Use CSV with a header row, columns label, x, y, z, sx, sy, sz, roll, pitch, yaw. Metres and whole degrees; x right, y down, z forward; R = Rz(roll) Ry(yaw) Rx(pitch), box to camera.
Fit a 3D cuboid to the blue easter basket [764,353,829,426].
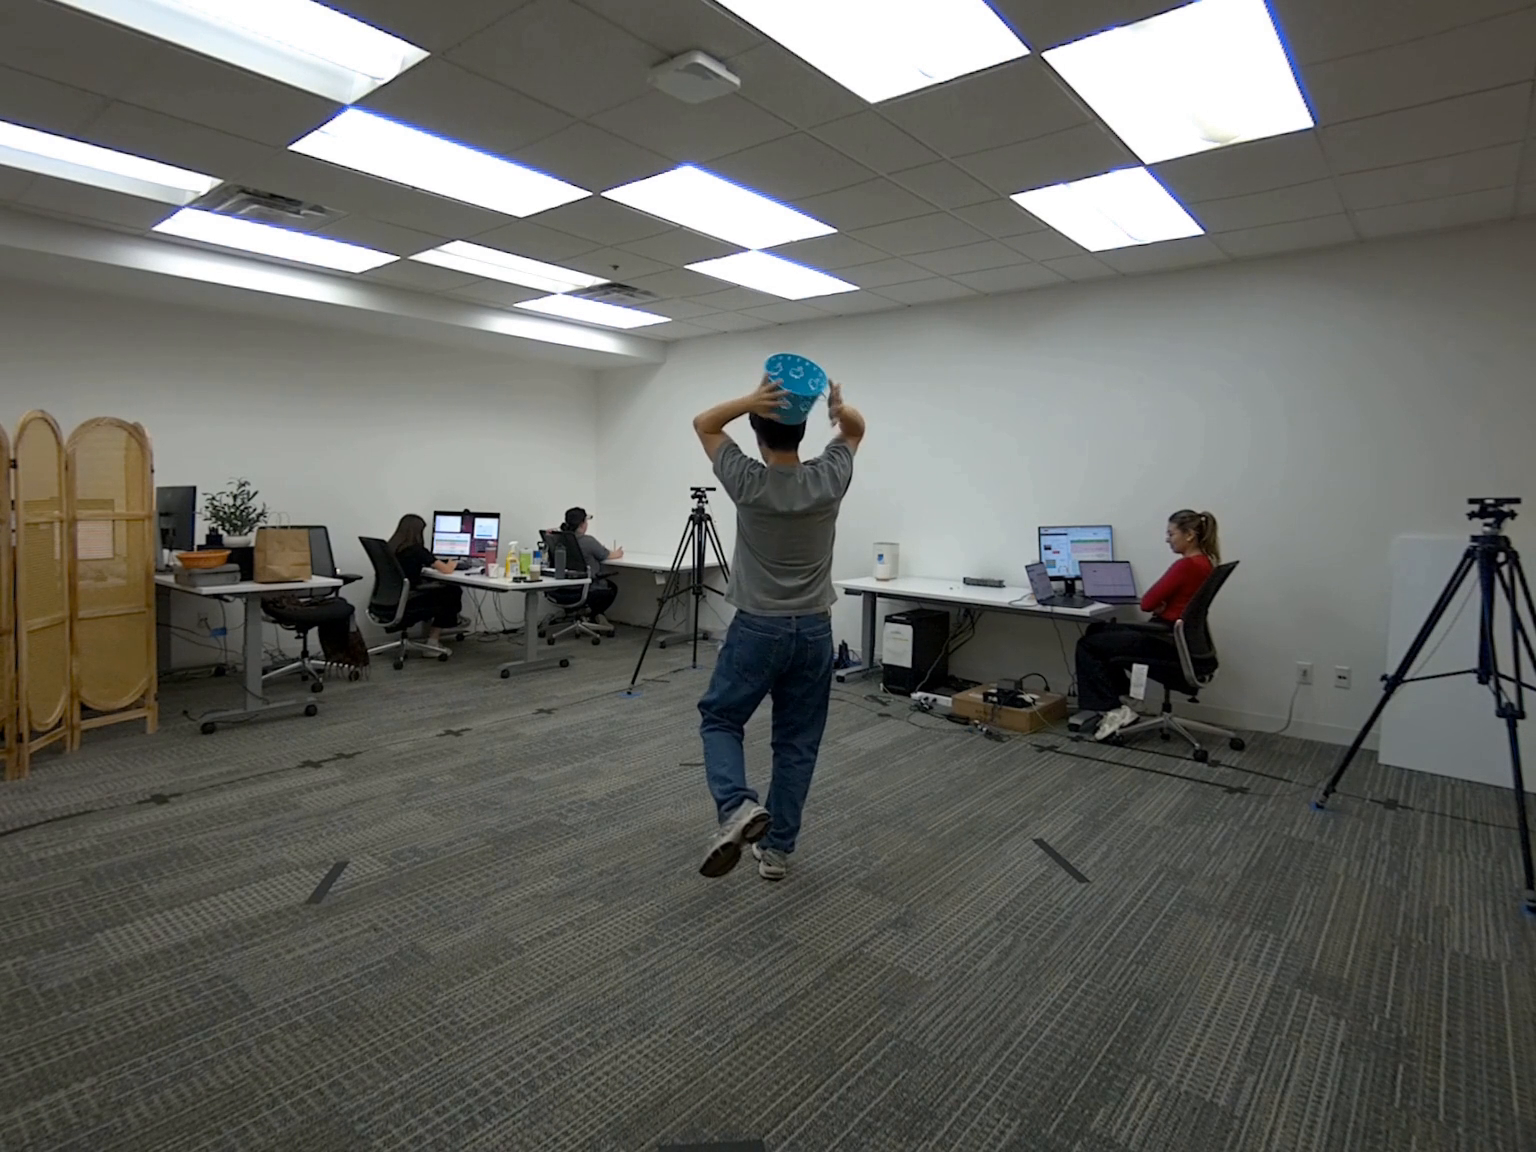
label,x,y,z,sx,sy,sz,roll,pitch,yaw
blue easter basket,0.072,-0.658,2.951,0.241,0.153,0.251,8,45,-10
